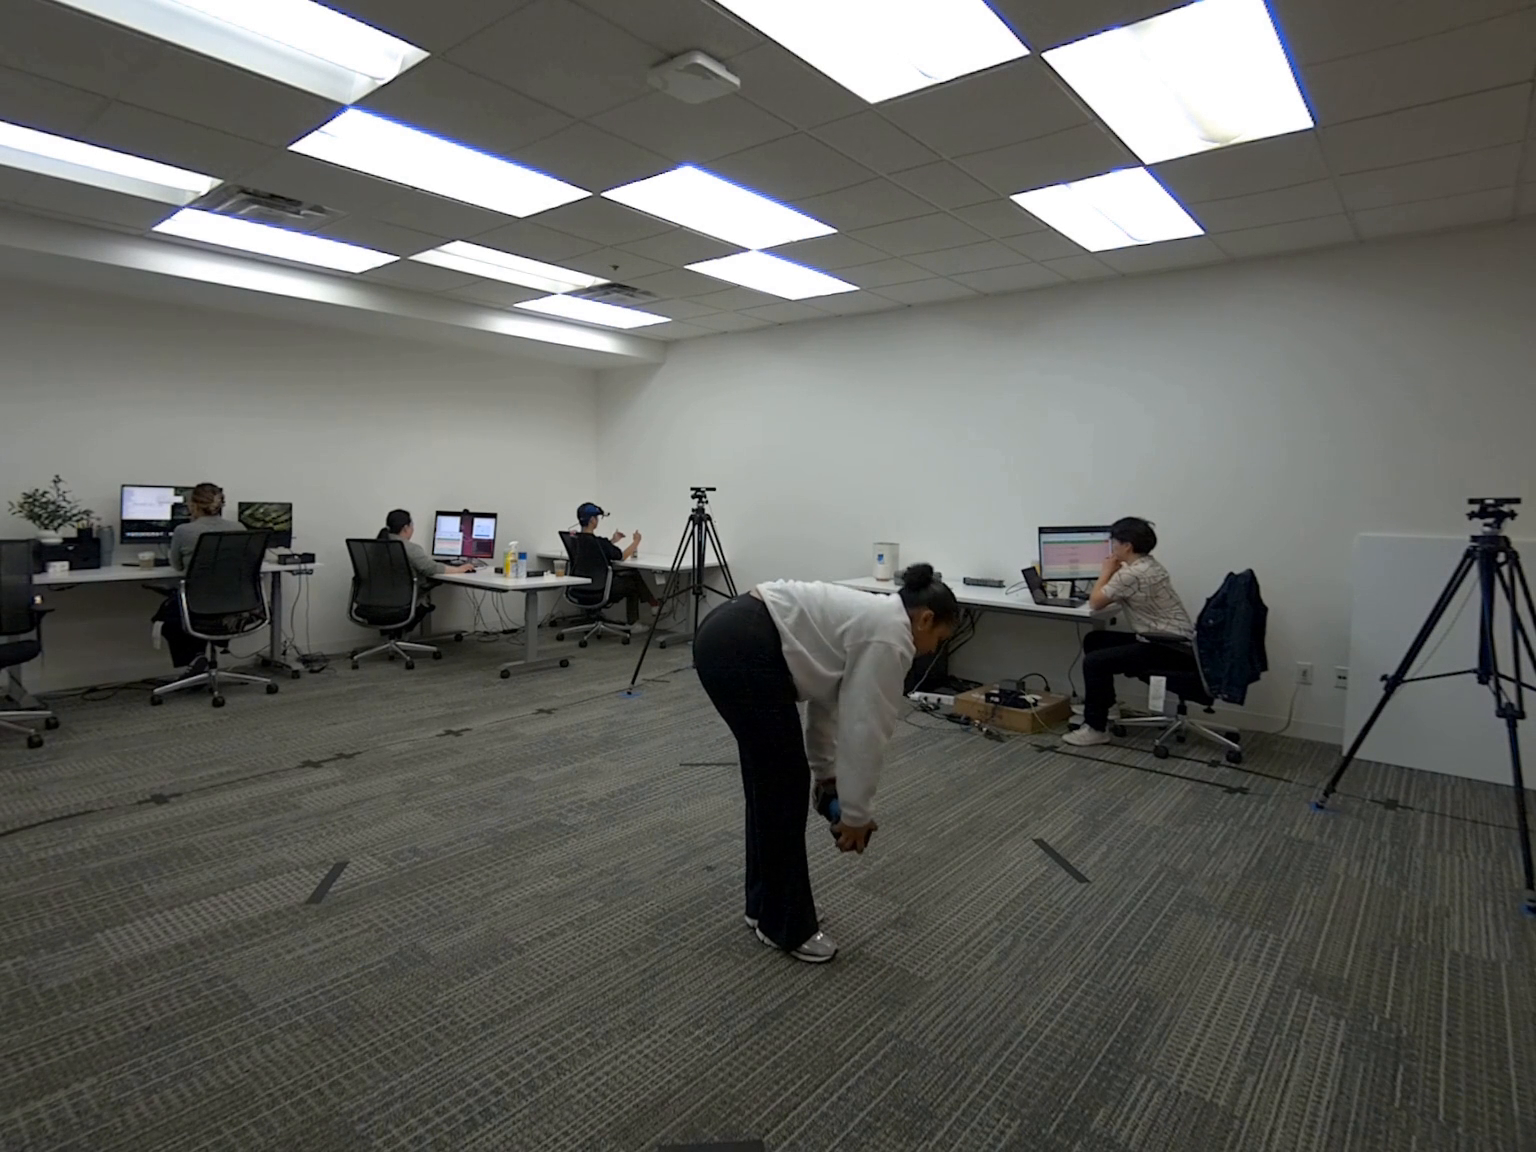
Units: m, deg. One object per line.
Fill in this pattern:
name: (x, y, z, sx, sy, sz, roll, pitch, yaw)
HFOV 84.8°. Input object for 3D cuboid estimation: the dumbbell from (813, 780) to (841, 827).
dumbbell: (0.209, 0.752, 2.644, 0.106, 0.123, 0.300, 21, -3, -20)
